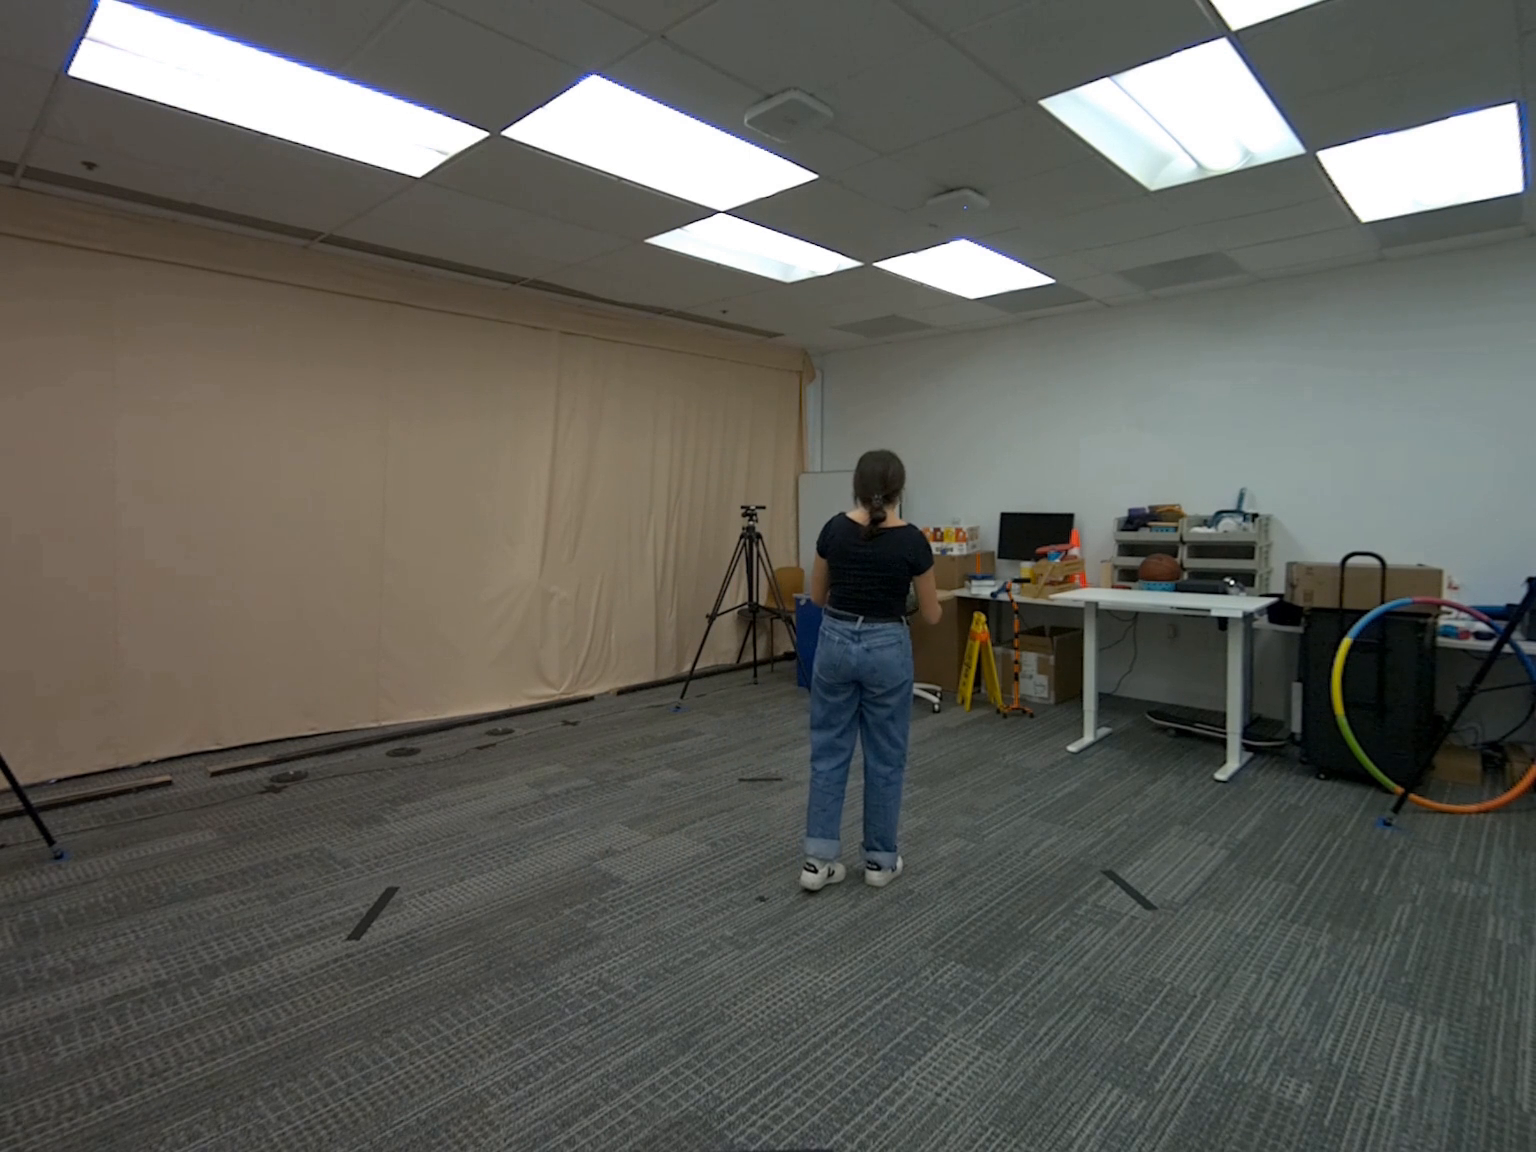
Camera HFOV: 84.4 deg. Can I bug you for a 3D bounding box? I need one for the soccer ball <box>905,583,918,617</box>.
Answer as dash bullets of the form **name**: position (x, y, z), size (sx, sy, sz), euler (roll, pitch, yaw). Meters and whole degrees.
- **soccer ball**: position (0.554, 0.057, 3.329), size (0.187, 0.187, 0.188), euler (0, 4, -2)
